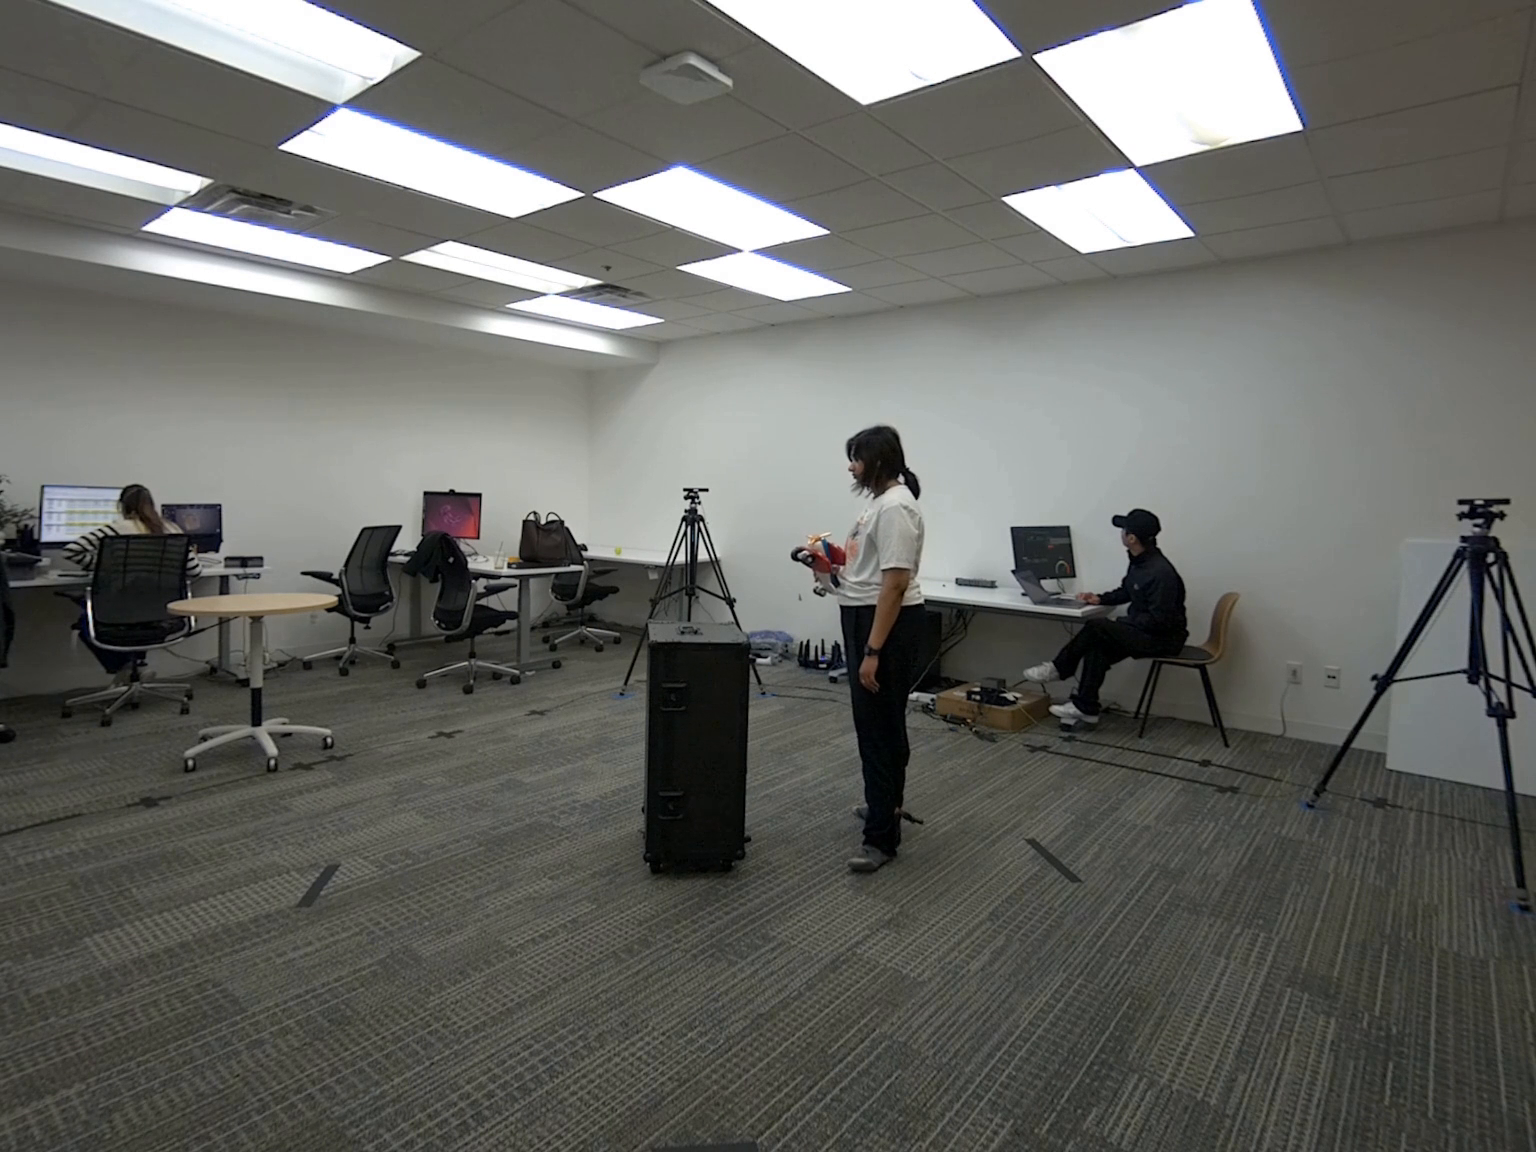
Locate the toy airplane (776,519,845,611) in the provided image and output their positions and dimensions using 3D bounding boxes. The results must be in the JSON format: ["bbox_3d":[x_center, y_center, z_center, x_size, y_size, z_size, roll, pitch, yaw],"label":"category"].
[{"bbox_3d":[0.199,-0.047,3.507,0.156,0.249,0.262,-39,52,-13],"label":"toy airplane"}]
